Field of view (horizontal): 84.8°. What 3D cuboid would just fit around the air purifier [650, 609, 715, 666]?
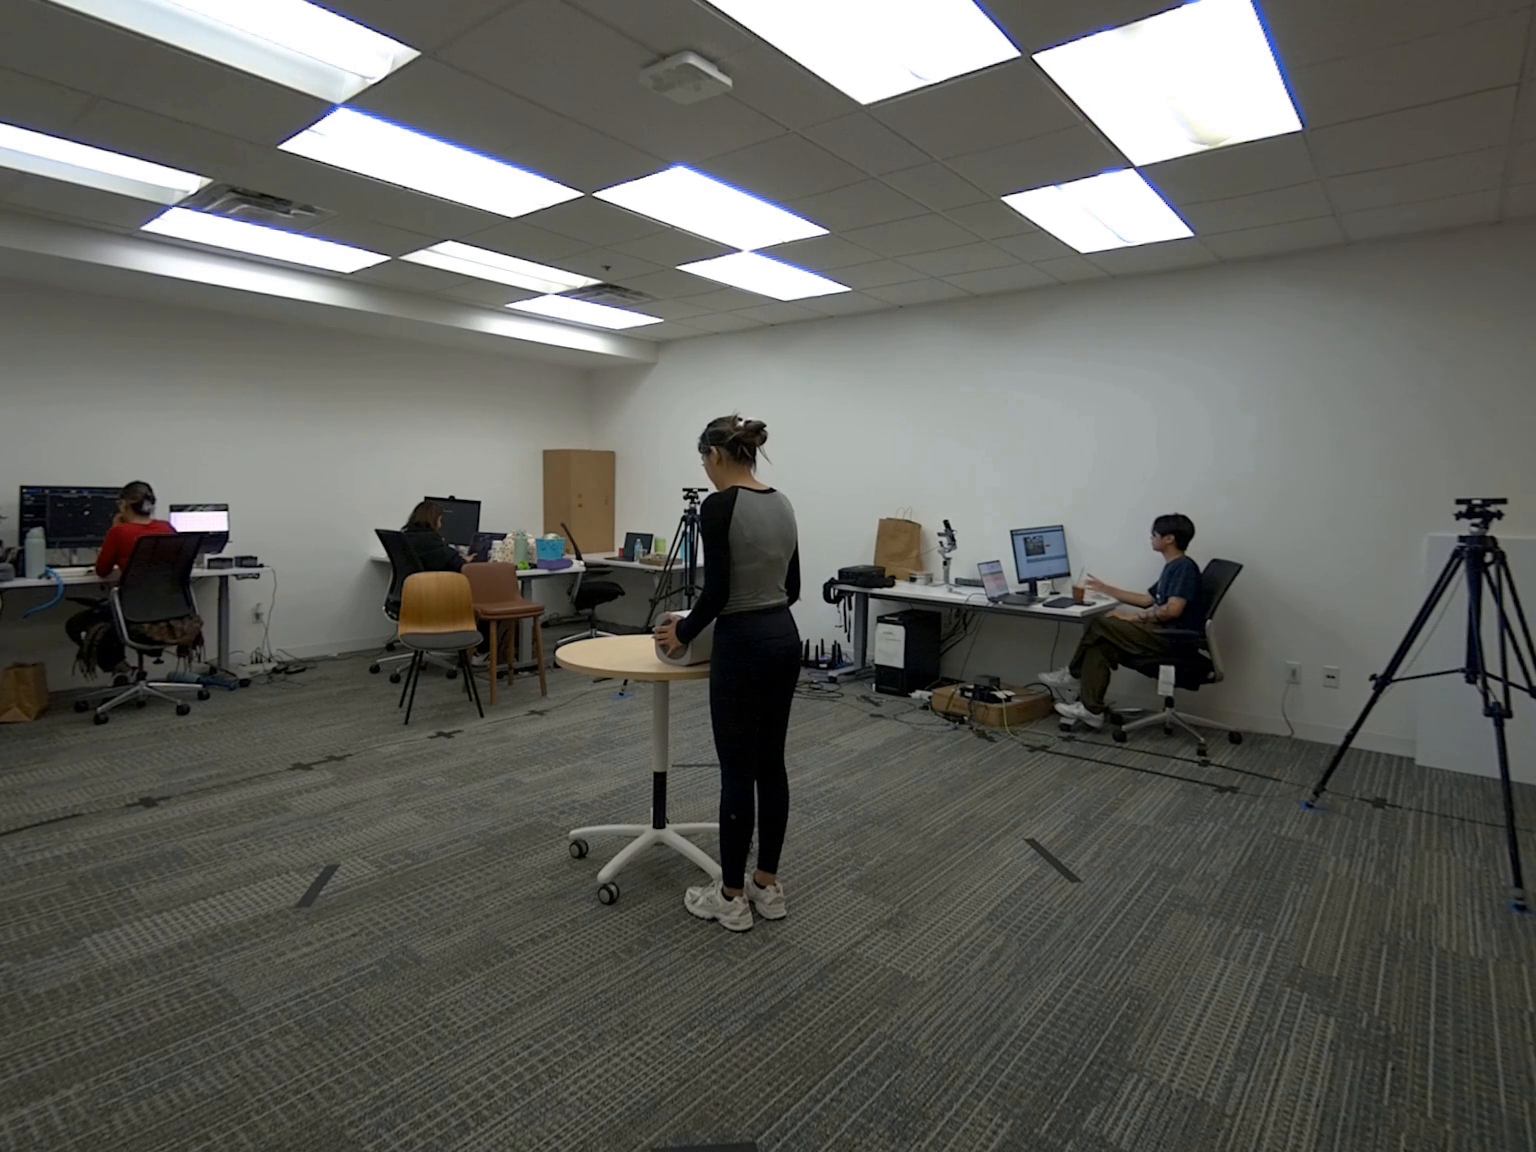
[{"bbox_3d":[-0.249,0.200,2.956,0.177,0.171,0.258,4,5,38],"label":"air purifier"}]
